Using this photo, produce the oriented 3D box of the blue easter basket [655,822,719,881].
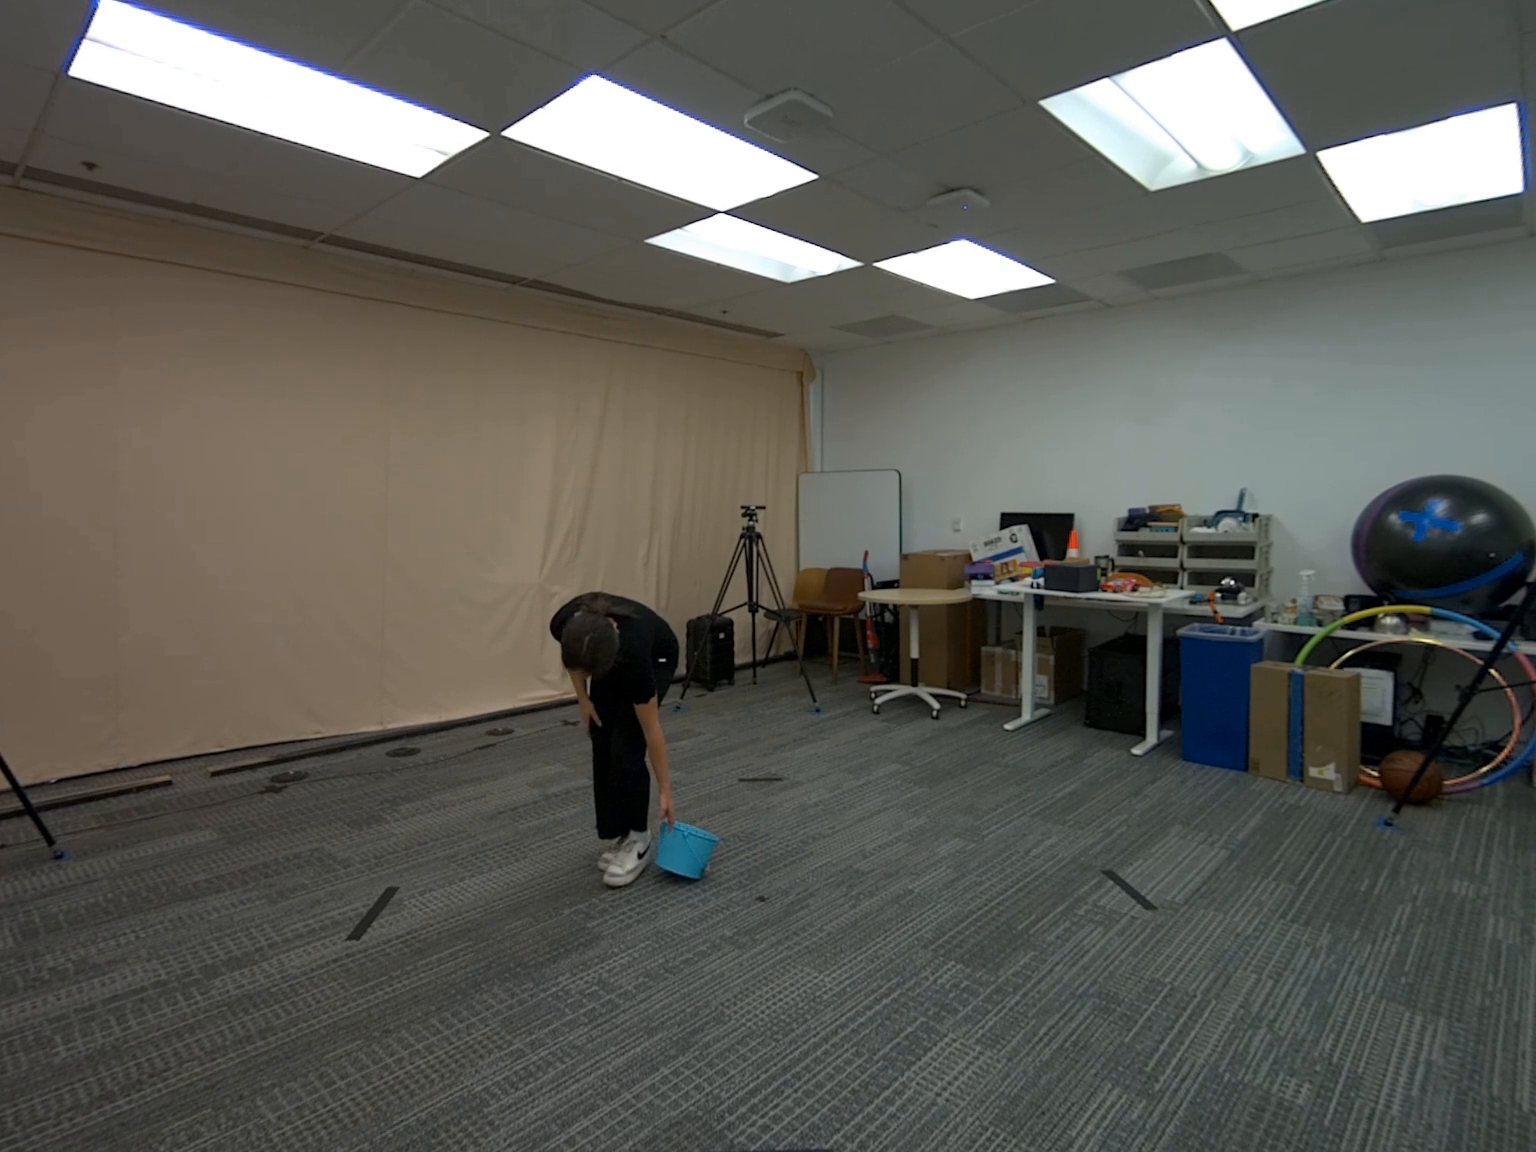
[{"bbox_3d":[-0.309,1.032,3.156,0.244,0.156,0.242,17,-11,2],"label":"blue easter basket"}]
